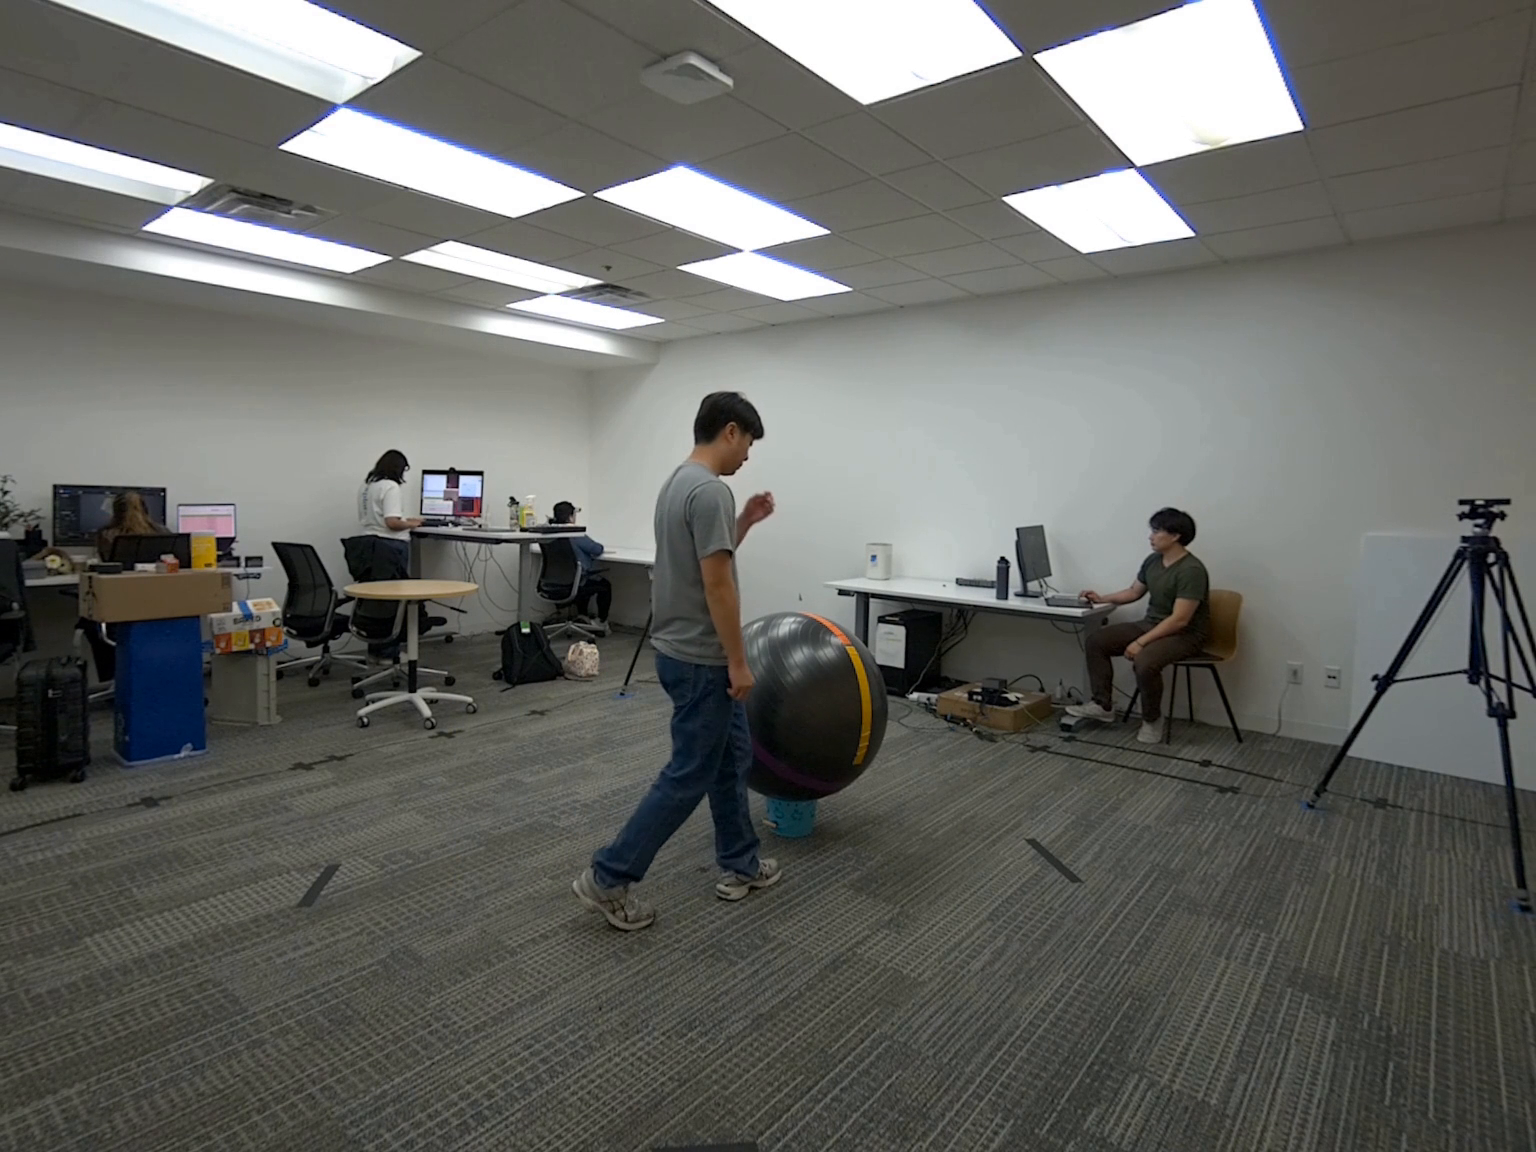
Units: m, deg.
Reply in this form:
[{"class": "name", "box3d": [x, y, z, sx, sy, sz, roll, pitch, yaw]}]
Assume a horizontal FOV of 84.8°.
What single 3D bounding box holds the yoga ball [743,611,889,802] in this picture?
[{"class": "yoga ball", "box3d": [0.106, 0.528, 3.497, 0.757, 0.756, 0.761, 1, 4, -2]}]
